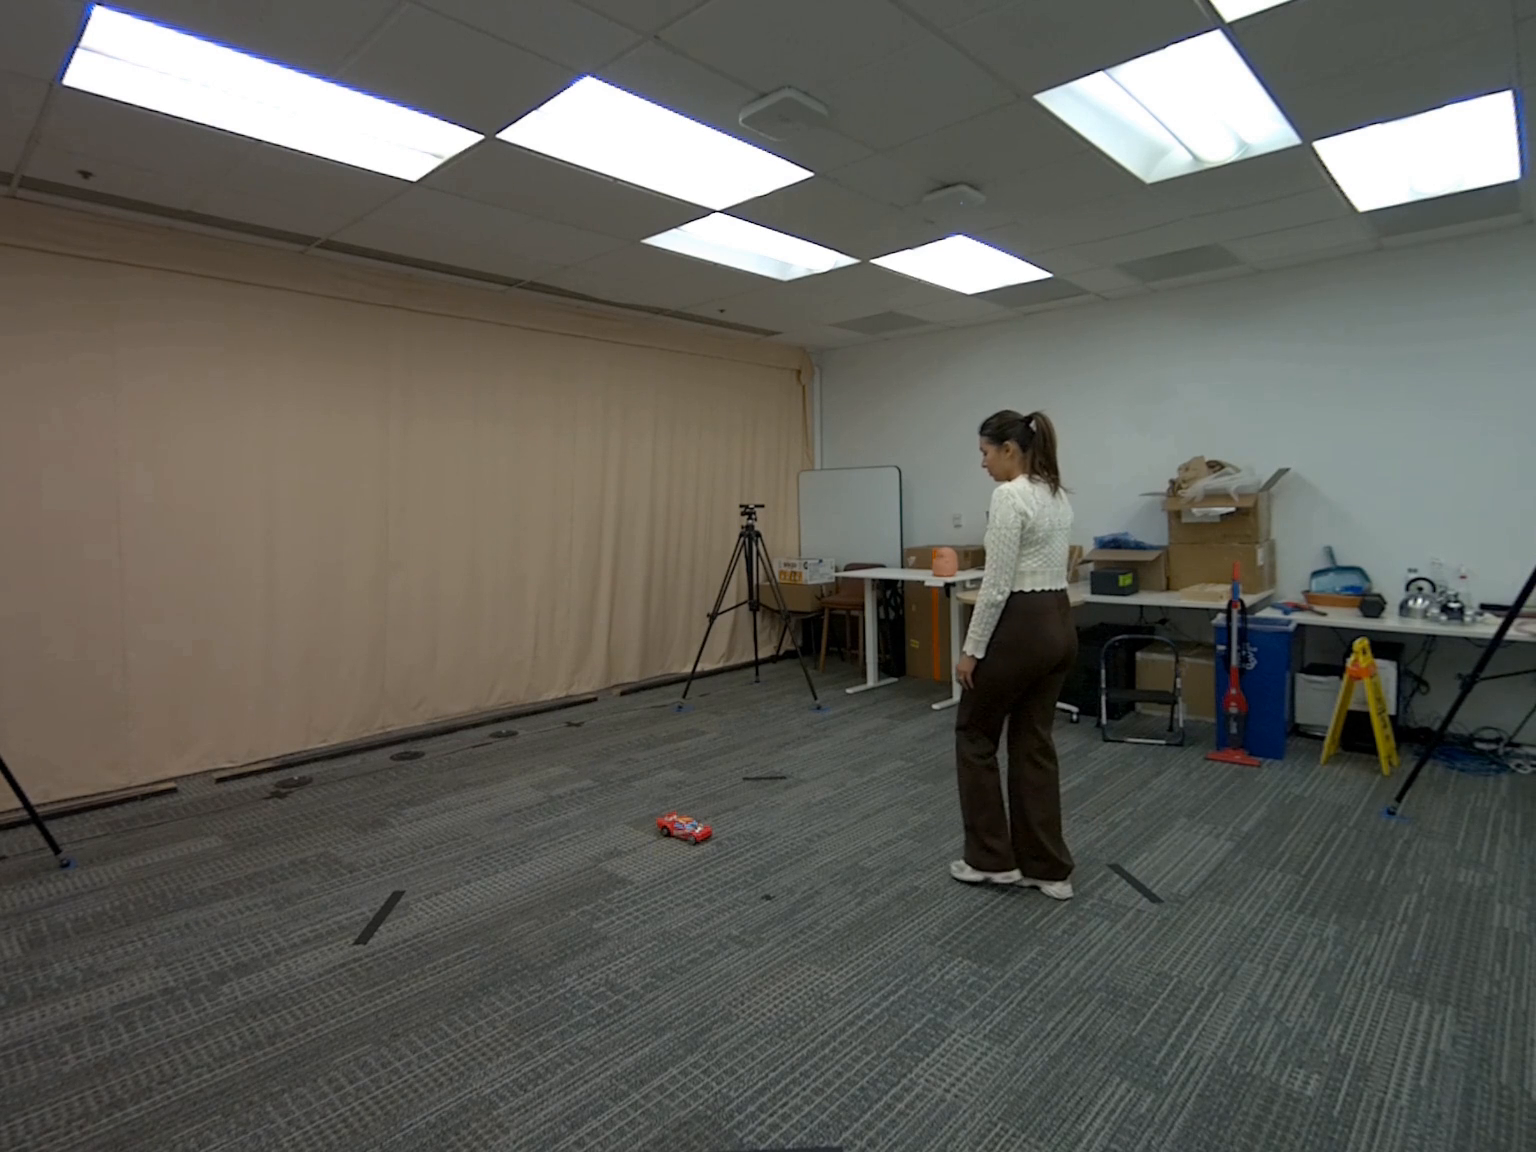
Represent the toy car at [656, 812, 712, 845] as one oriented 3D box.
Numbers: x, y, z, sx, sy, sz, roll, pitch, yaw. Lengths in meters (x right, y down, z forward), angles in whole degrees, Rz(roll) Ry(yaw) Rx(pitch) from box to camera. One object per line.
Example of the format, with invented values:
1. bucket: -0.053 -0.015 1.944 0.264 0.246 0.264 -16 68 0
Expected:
1. toy car: -0.361 1.066 3.560 0.263 0.083 0.126 15 13 36
